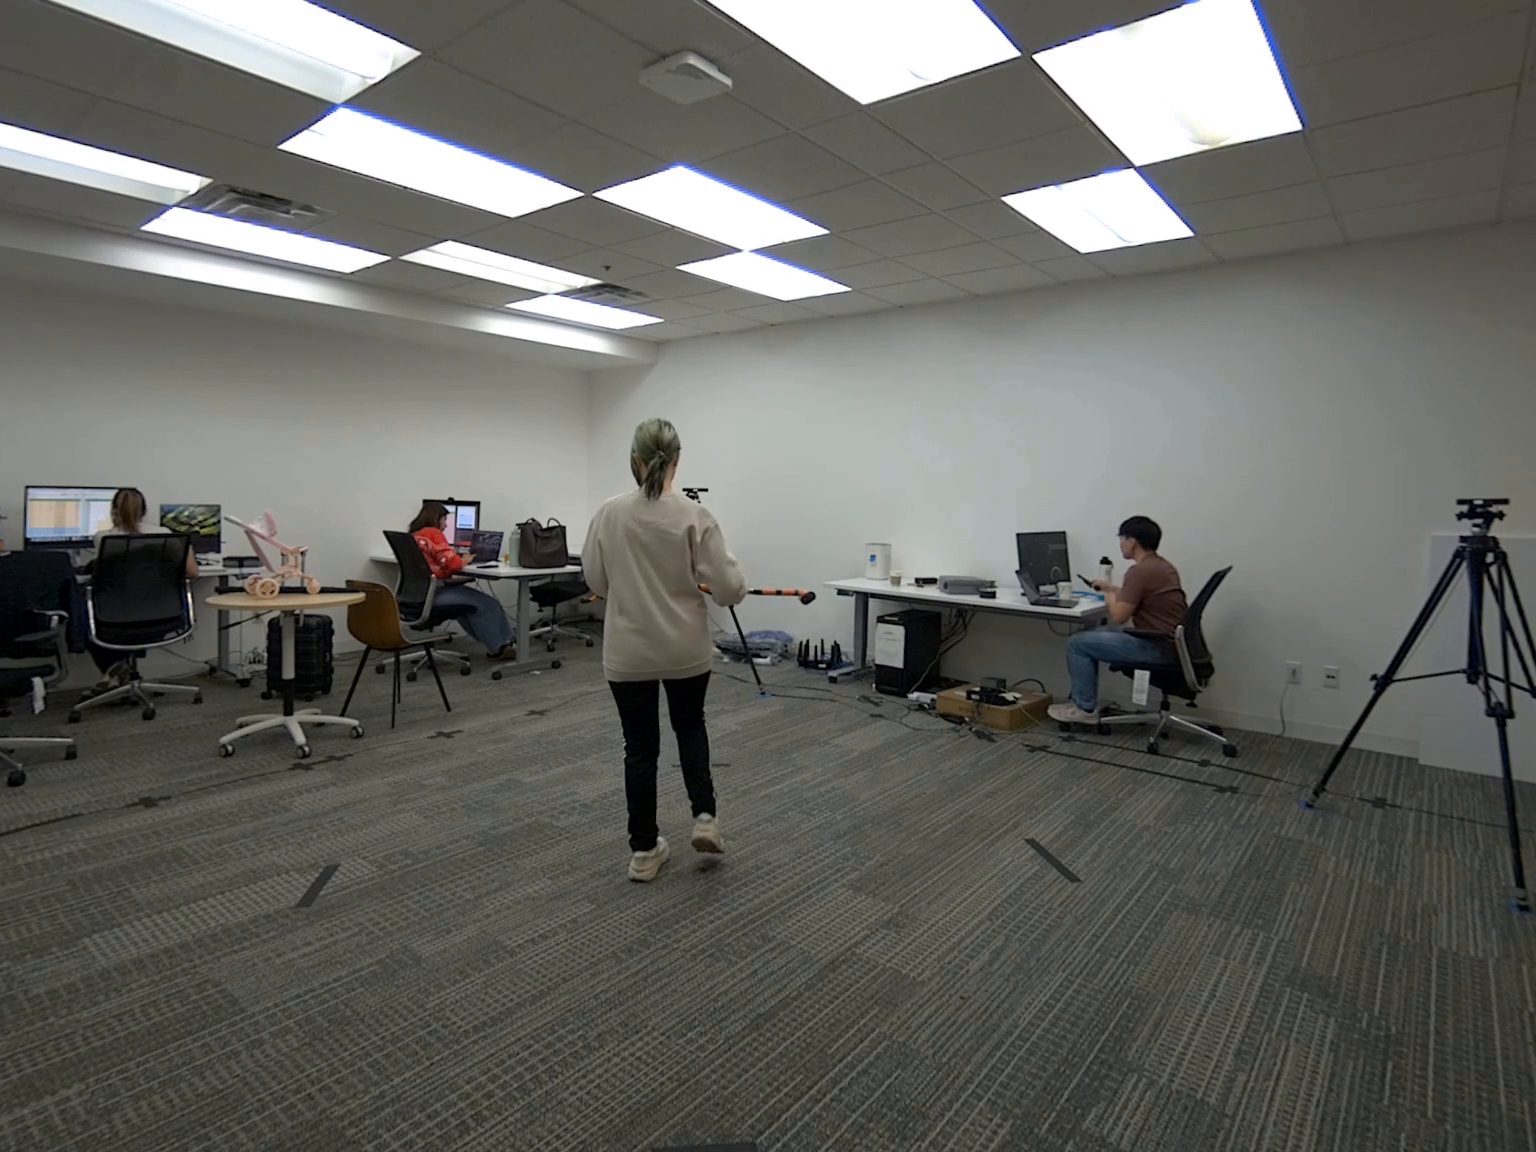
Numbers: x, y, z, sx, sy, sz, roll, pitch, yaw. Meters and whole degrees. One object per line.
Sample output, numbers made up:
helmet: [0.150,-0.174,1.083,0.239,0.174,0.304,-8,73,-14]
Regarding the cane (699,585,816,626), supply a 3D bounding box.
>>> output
cane: [-0.273,0.049,3.305,0.924,0.151,0.203,2,5,16]
